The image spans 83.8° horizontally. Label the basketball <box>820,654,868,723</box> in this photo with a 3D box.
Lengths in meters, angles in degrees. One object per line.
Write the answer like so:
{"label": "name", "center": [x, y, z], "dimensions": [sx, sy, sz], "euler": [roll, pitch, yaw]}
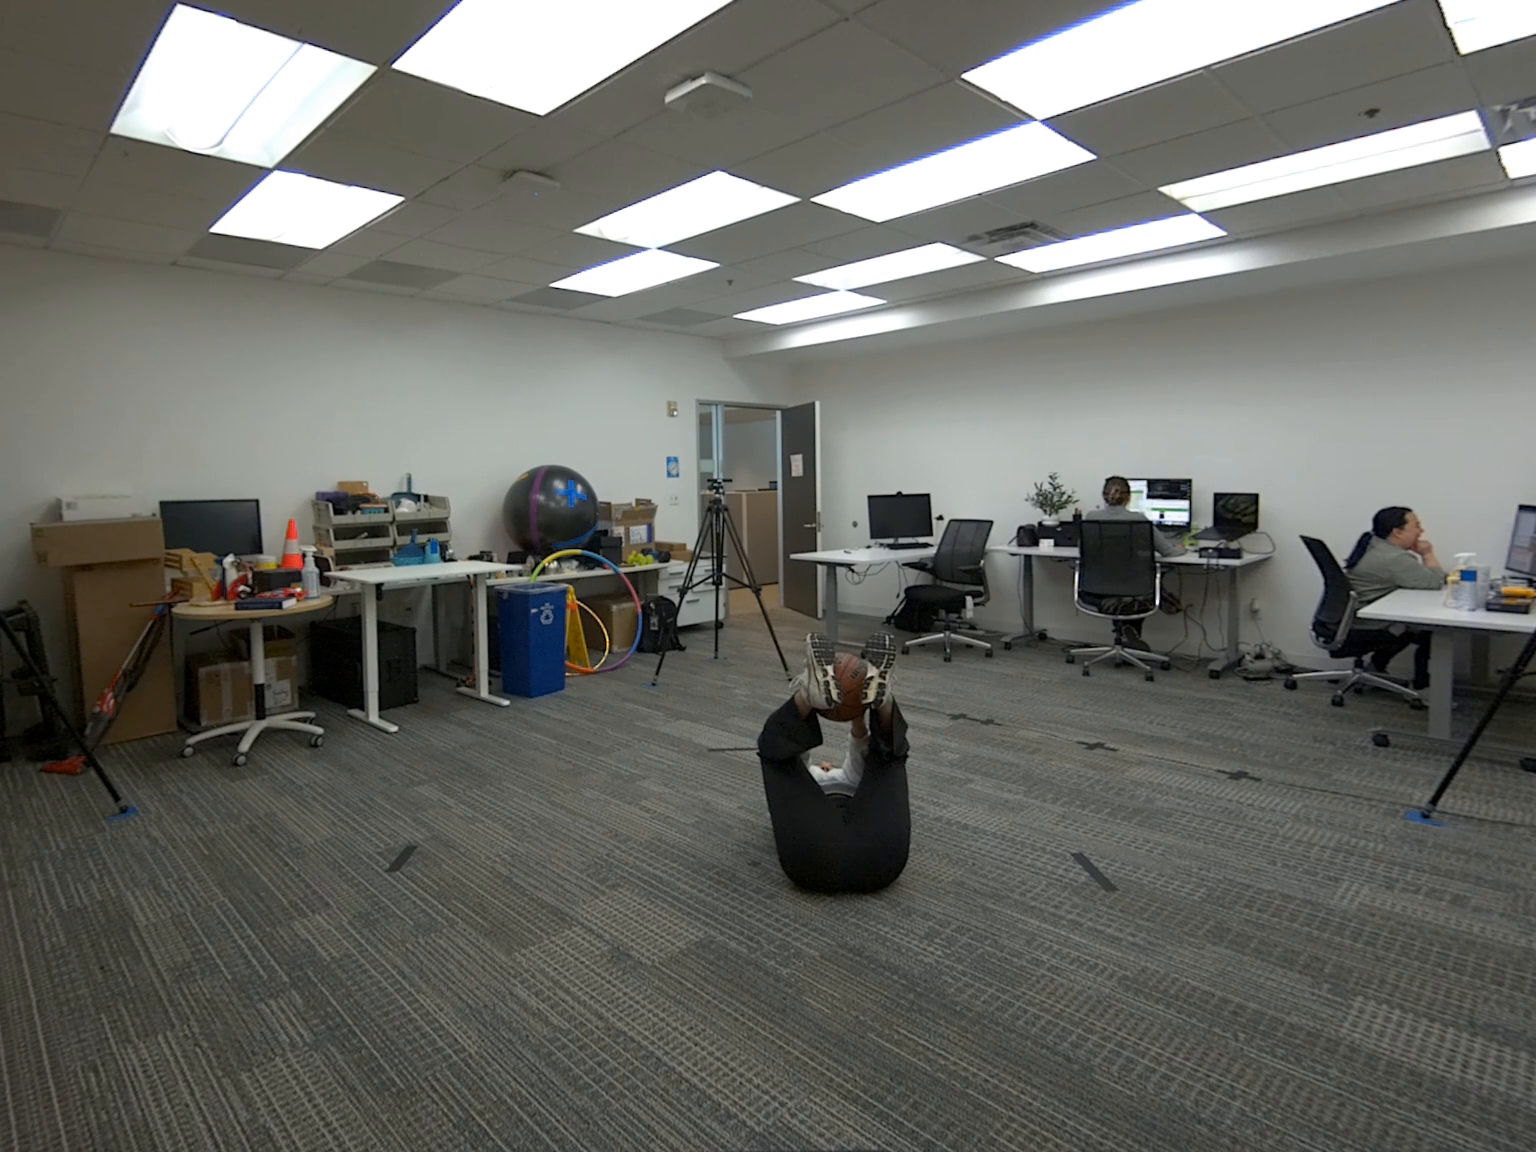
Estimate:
{"label": "basketball", "center": [0.250, 0.386, 2.972], "dimensions": [0.236, 0.235, 0.237], "euler": [-1, 5, -2]}
